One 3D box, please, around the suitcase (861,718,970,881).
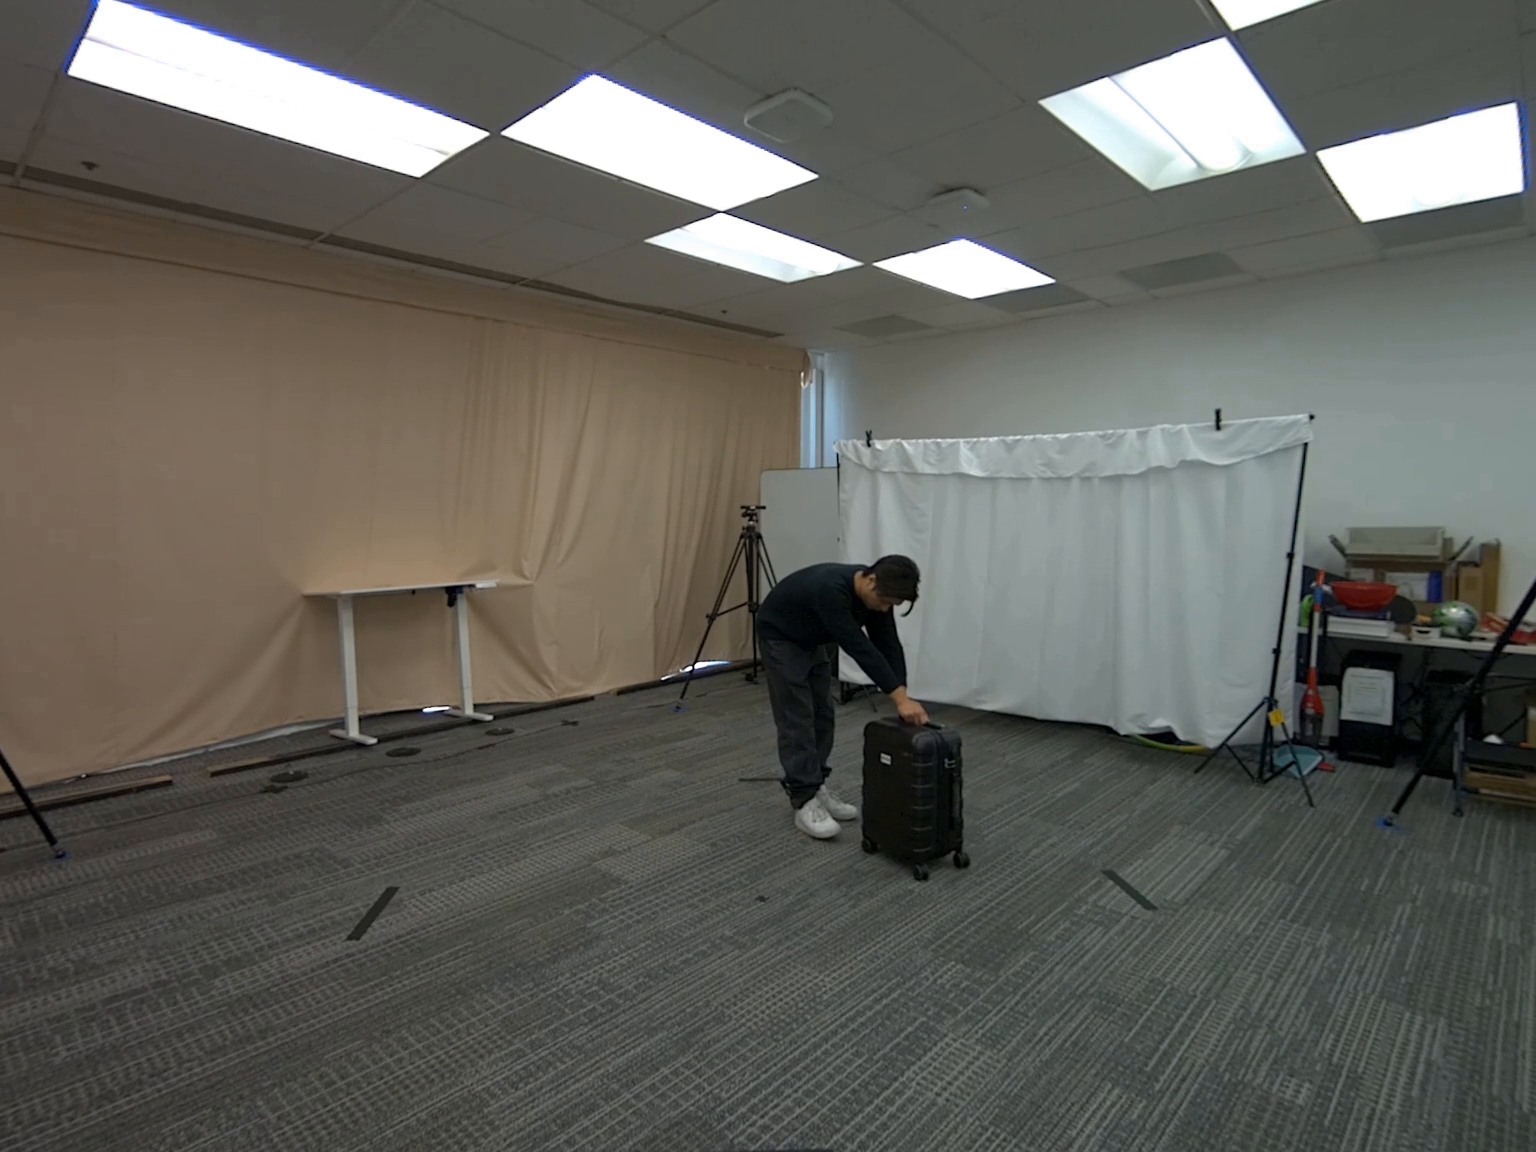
[{"bbox_3d":[0.576,0.840,3.318,0.241,0.548,0.386,-2,3,-32],"label":"suitcase"}]
